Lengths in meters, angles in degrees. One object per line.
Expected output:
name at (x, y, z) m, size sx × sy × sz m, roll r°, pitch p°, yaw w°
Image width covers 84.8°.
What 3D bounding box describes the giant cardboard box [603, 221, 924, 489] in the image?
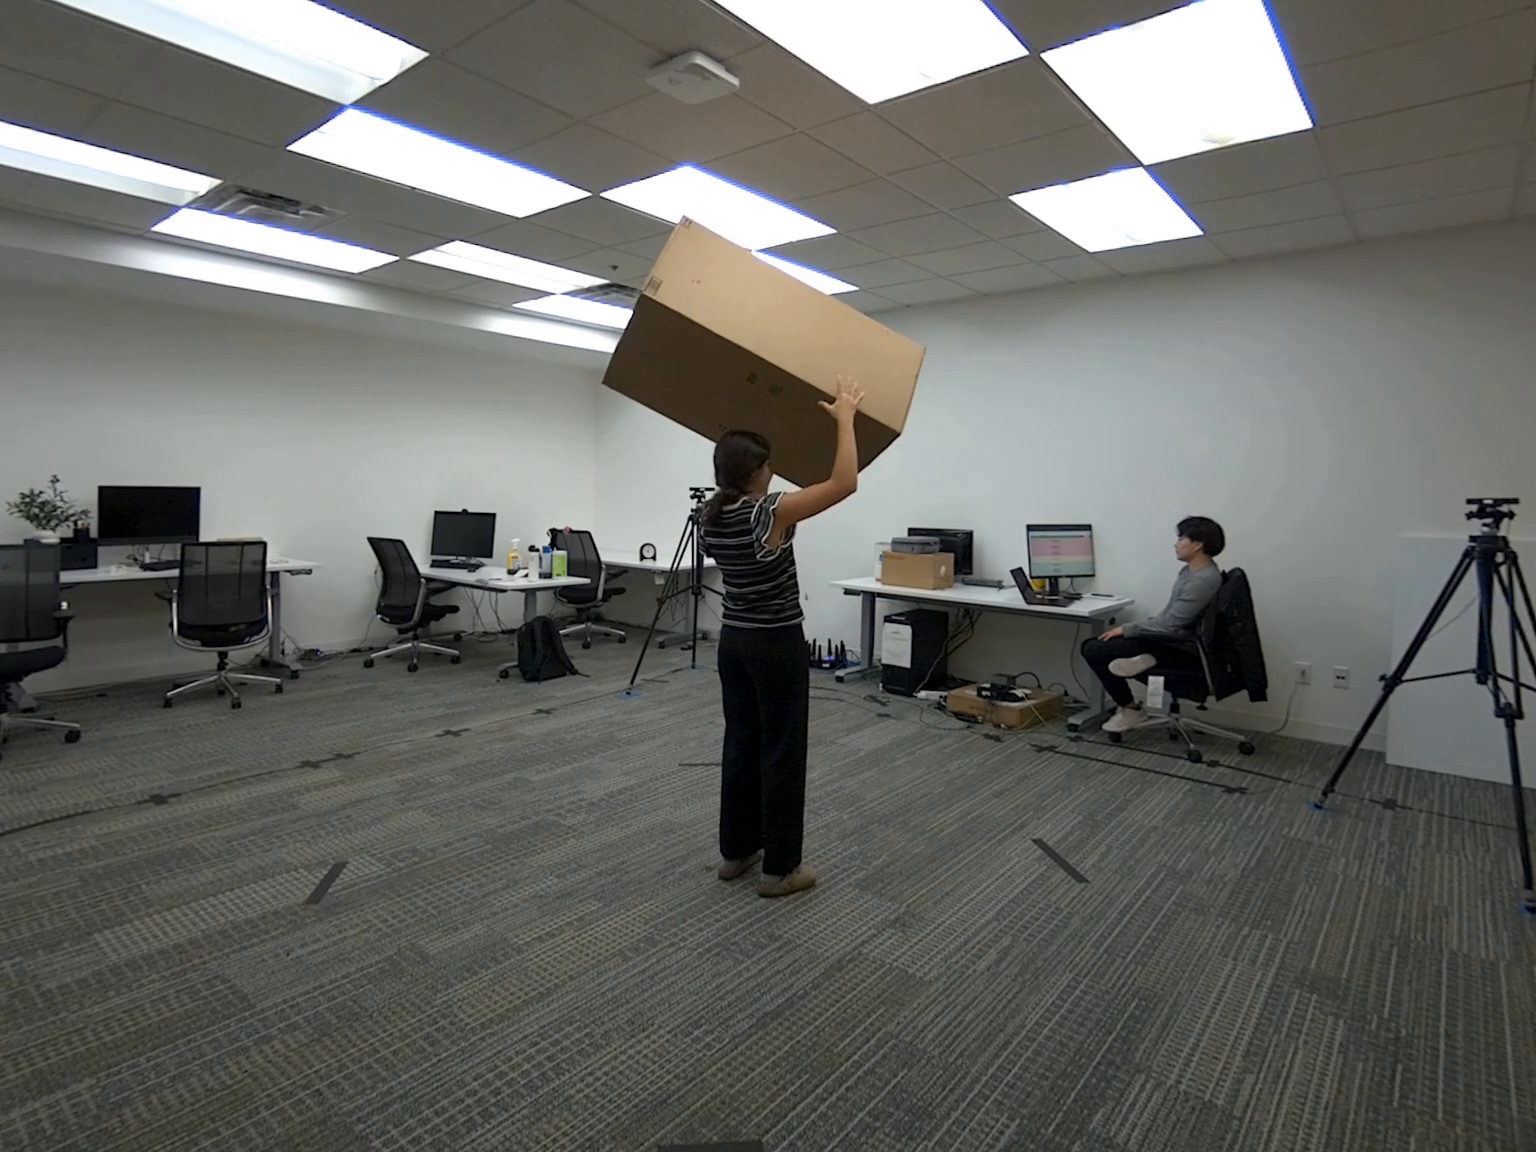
giant cardboard box at (-0.037, -0.785, 3.222) m, size 1.014 × 0.432 × 0.577 m, roll 27°, pitch -30°, yaw -9°
